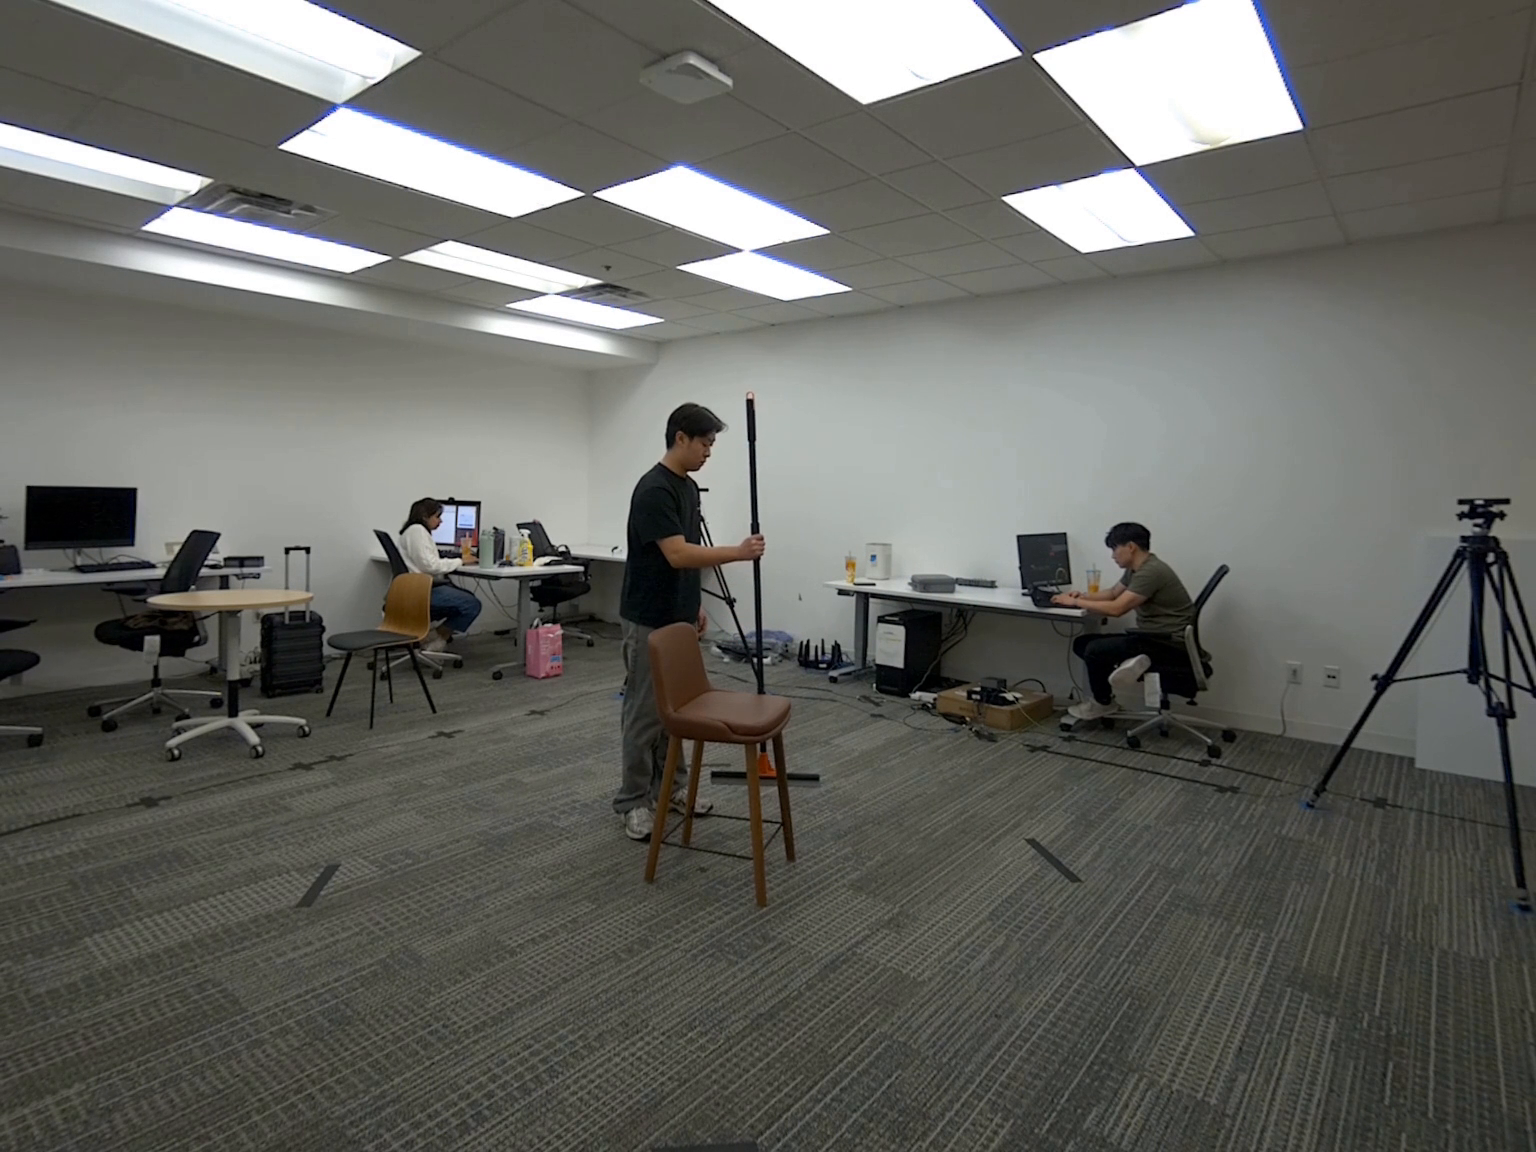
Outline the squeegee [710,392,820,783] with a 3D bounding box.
[{"bbox_3d":[-0.037,0.064,3.333,0.441,1.534,0.052,-1,2,9],"label":"squeegee"}]
